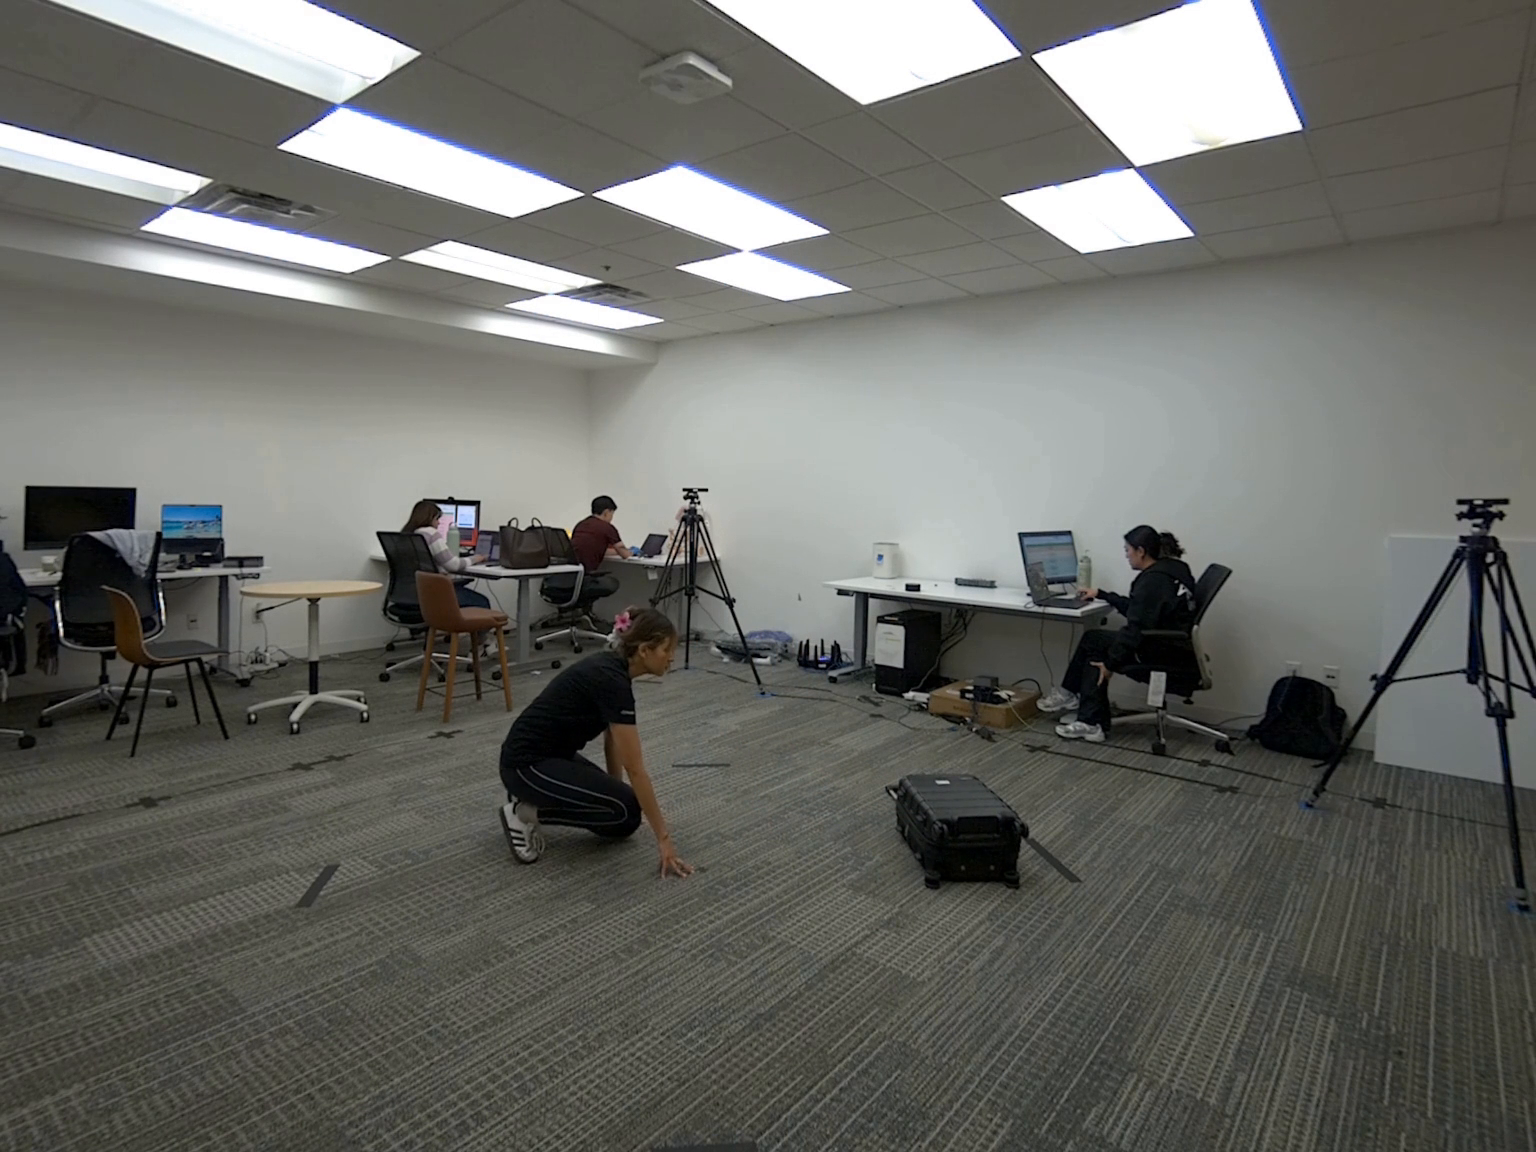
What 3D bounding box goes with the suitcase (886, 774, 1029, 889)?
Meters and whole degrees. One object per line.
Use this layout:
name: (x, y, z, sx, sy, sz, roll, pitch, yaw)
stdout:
suitcase: (0.693, 0.932, 3.476, 0.382, 0.255, 0.989, -1, 7, -6)
